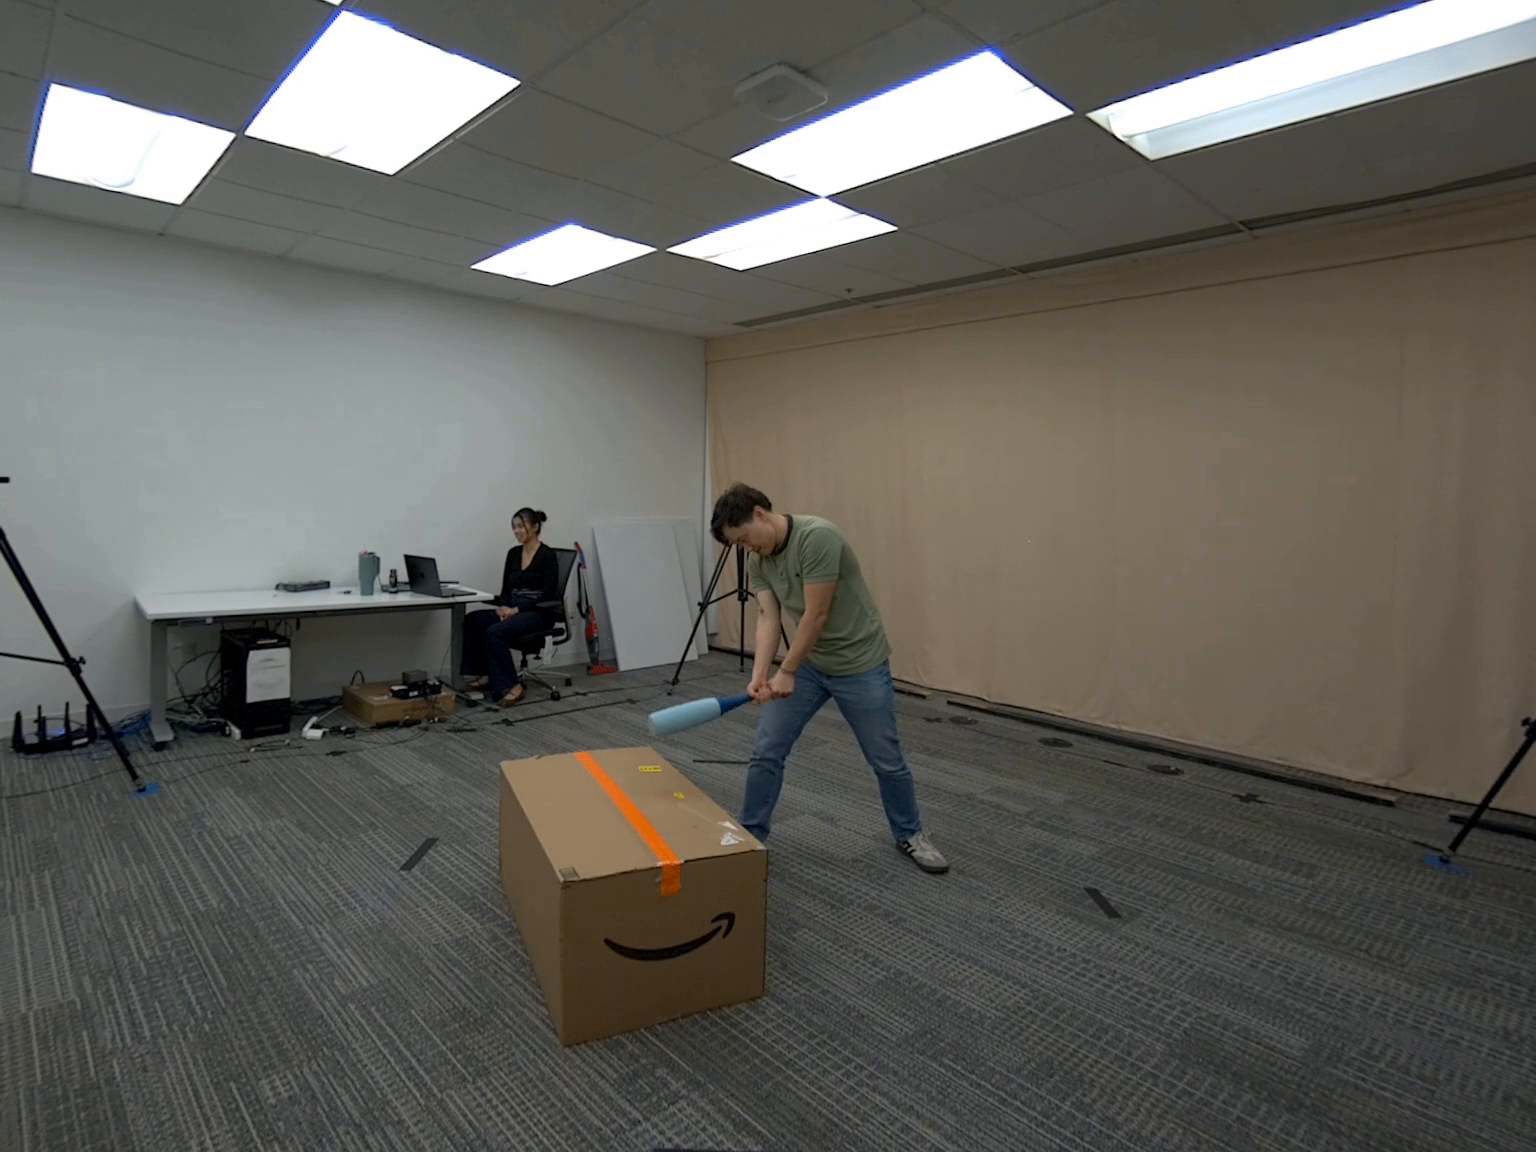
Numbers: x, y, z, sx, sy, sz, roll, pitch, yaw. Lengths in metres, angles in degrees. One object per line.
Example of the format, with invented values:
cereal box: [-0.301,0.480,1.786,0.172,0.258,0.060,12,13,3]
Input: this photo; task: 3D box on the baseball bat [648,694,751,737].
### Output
baseball bat: [-0.161,0.446,2.948,0.536,0.088,0.091,-12,9,-23]
